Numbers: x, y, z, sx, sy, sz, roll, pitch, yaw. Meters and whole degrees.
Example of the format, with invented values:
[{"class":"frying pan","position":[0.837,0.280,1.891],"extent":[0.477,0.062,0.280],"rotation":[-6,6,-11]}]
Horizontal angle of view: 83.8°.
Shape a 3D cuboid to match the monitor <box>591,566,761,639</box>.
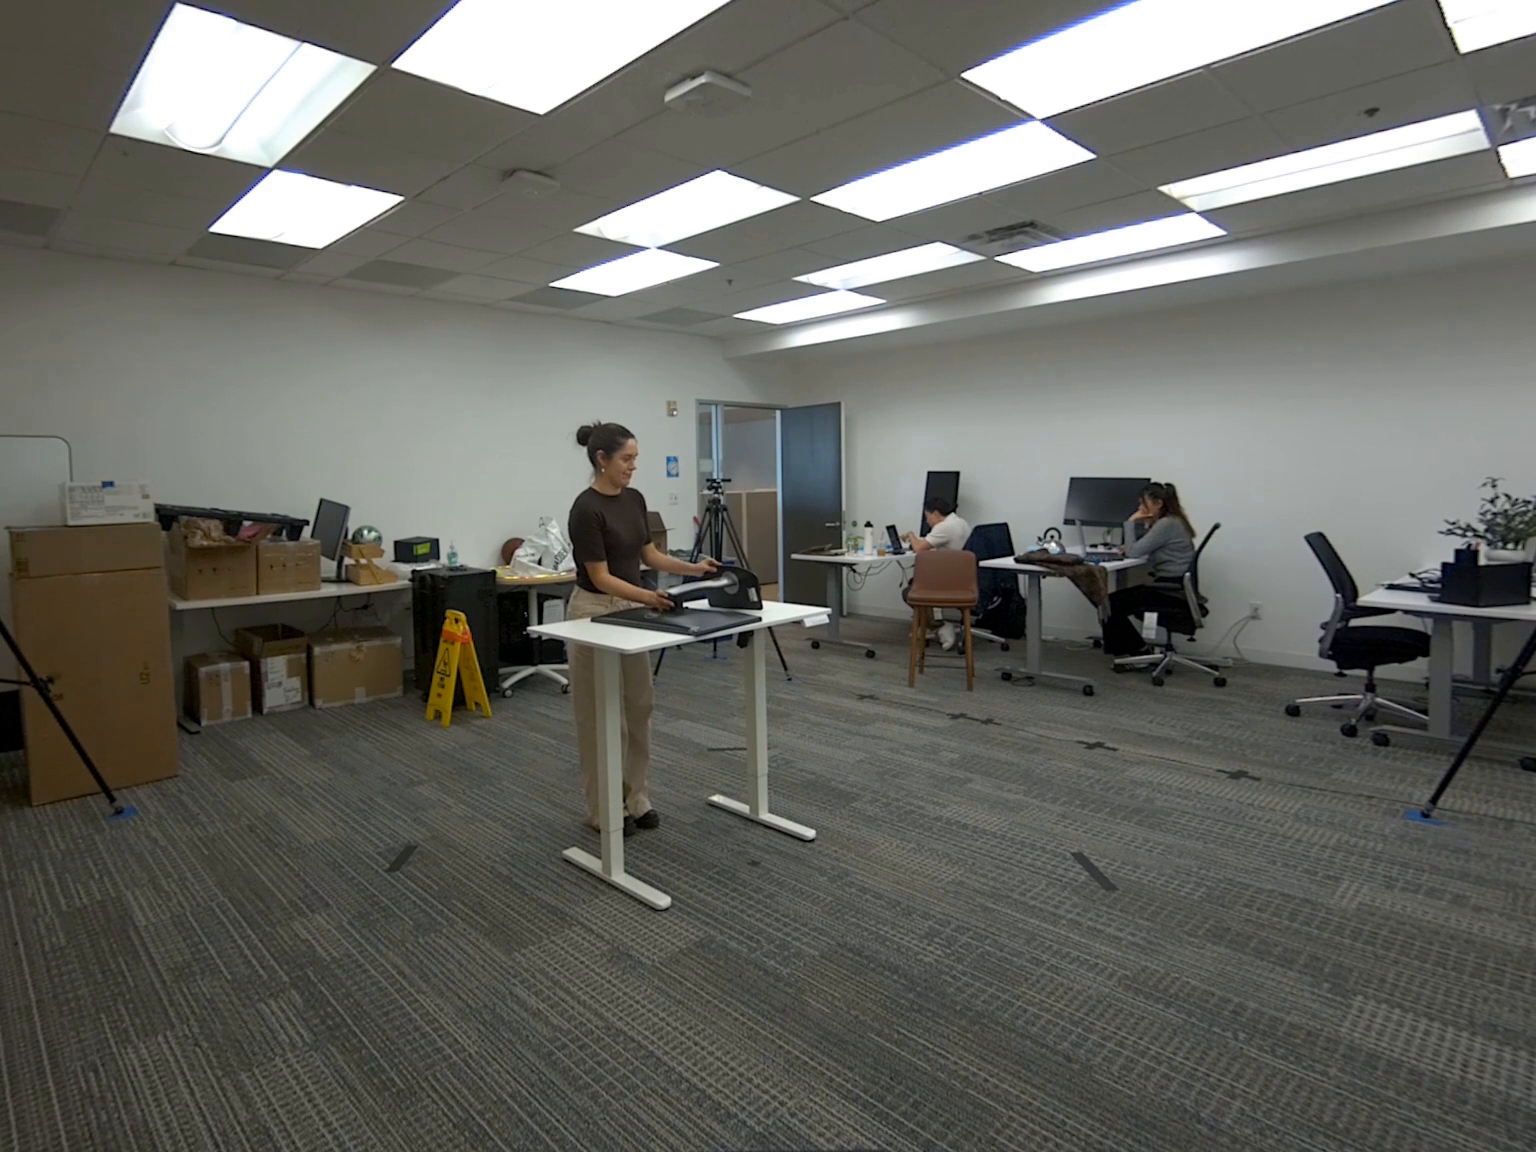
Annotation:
[{"class":"monitor","position":[-0.283,0.112,3.161],"extent":[0.554,0.185,0.514],"rotation":[0,16,40]}]
